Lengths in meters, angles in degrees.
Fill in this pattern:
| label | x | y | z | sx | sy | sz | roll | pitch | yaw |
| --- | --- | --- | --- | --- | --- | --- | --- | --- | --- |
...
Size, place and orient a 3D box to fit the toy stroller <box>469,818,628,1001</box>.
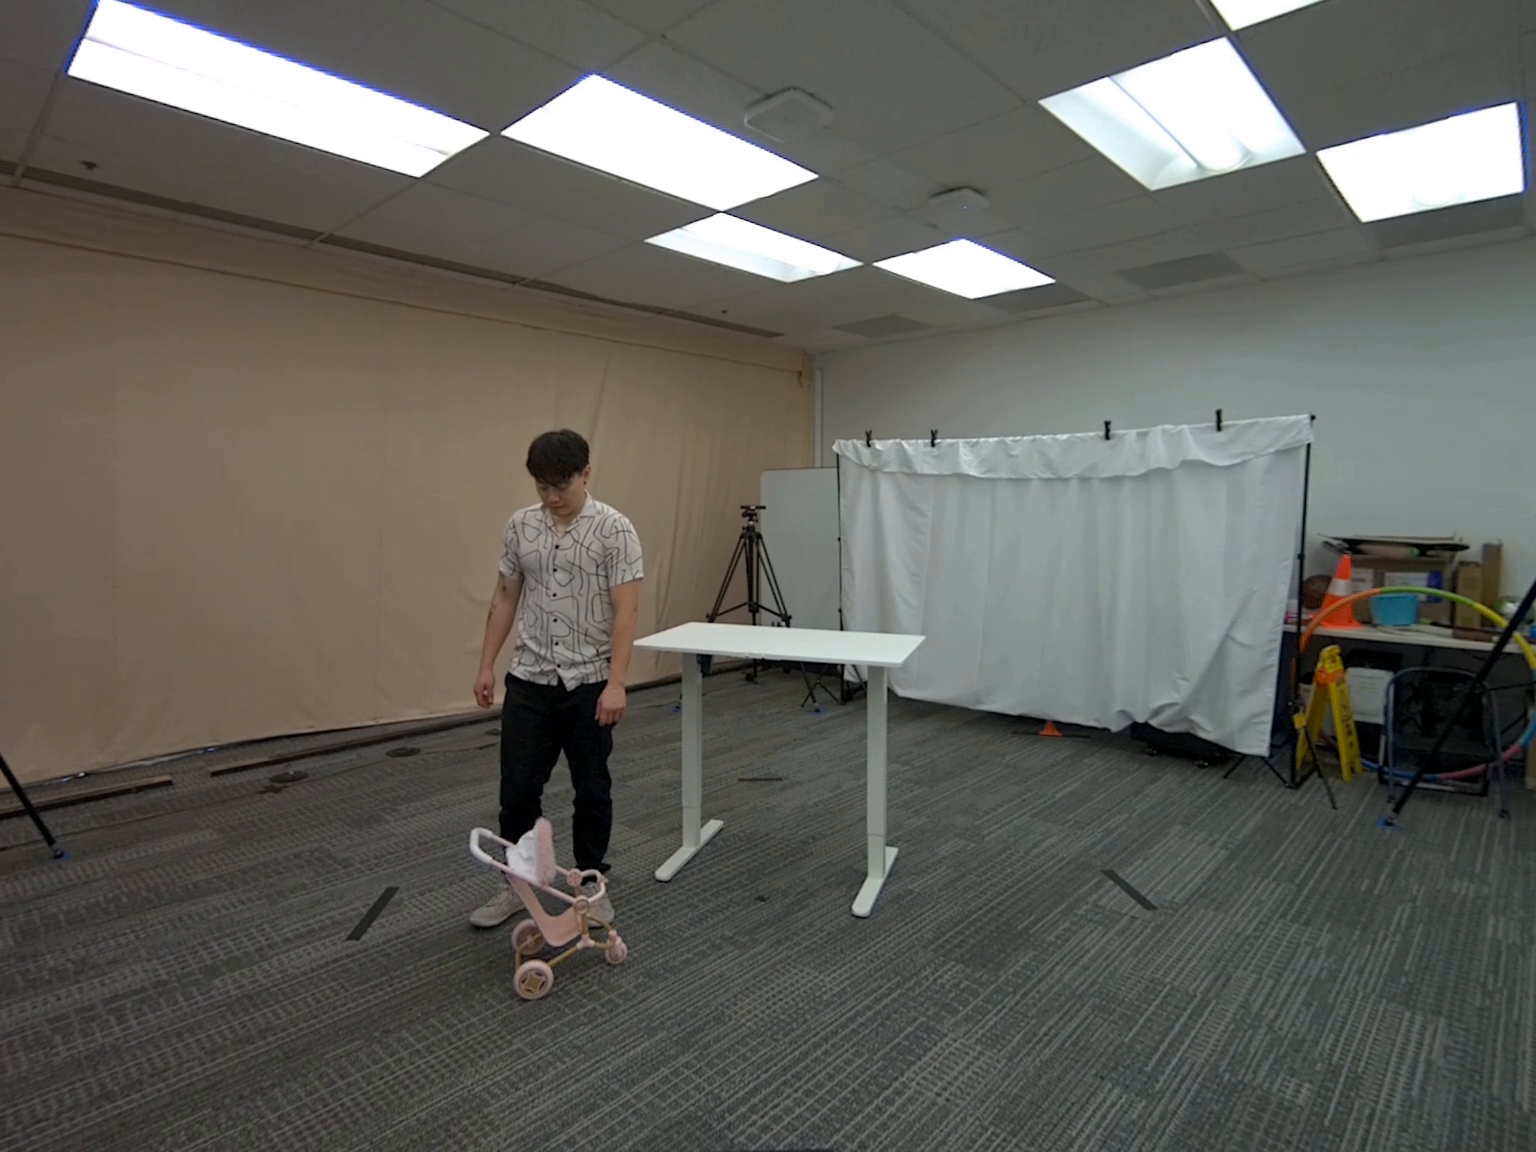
| label | x | y | z | sx | sy | sz | roll | pitch | yaw |
| --- | --- | --- | --- | --- | --- | --- | --- | --- | --- |
| toy stroller | -0.637 | 0.959 | 2.503 | 0.338 | 0.532 | 0.285 | -17 | 7 | -11 |
